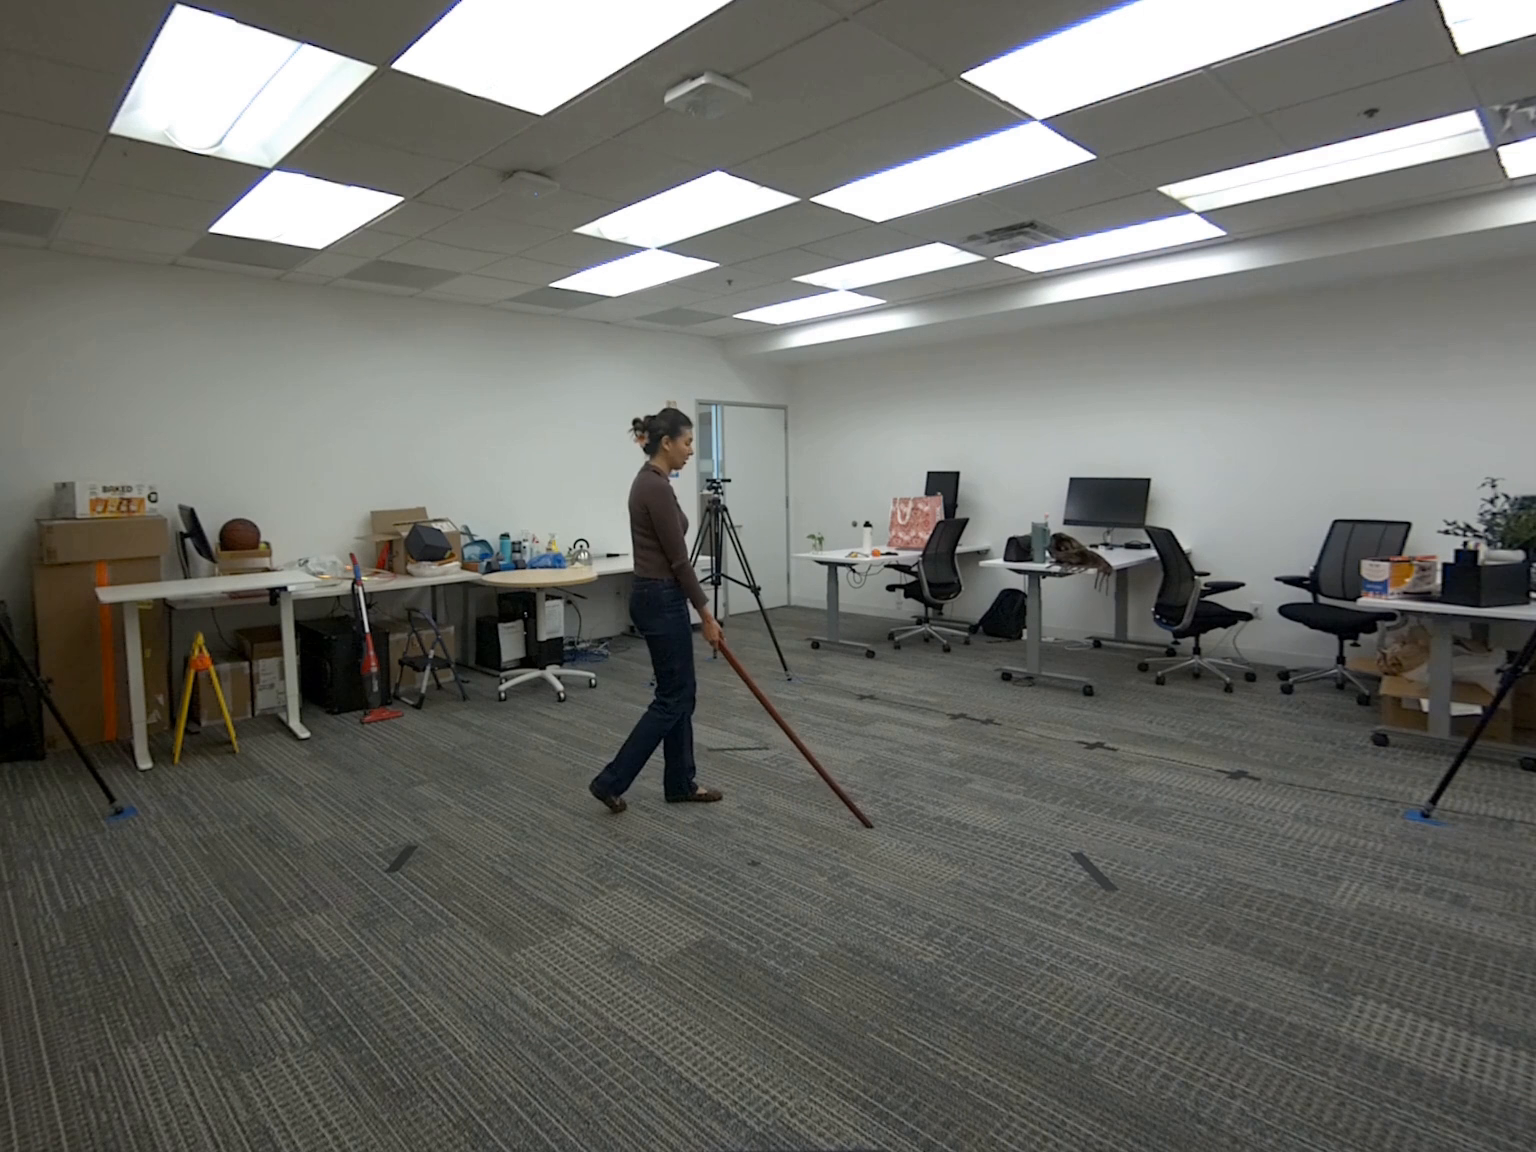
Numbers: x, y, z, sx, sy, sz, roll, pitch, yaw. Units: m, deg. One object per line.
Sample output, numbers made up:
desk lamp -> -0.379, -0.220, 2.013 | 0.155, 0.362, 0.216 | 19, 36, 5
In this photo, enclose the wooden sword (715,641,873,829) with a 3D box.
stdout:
wooden sword -> 0.078, 0.621, 3.489 | 0.024, 1.035, 0.051 | -45, -9, 35
